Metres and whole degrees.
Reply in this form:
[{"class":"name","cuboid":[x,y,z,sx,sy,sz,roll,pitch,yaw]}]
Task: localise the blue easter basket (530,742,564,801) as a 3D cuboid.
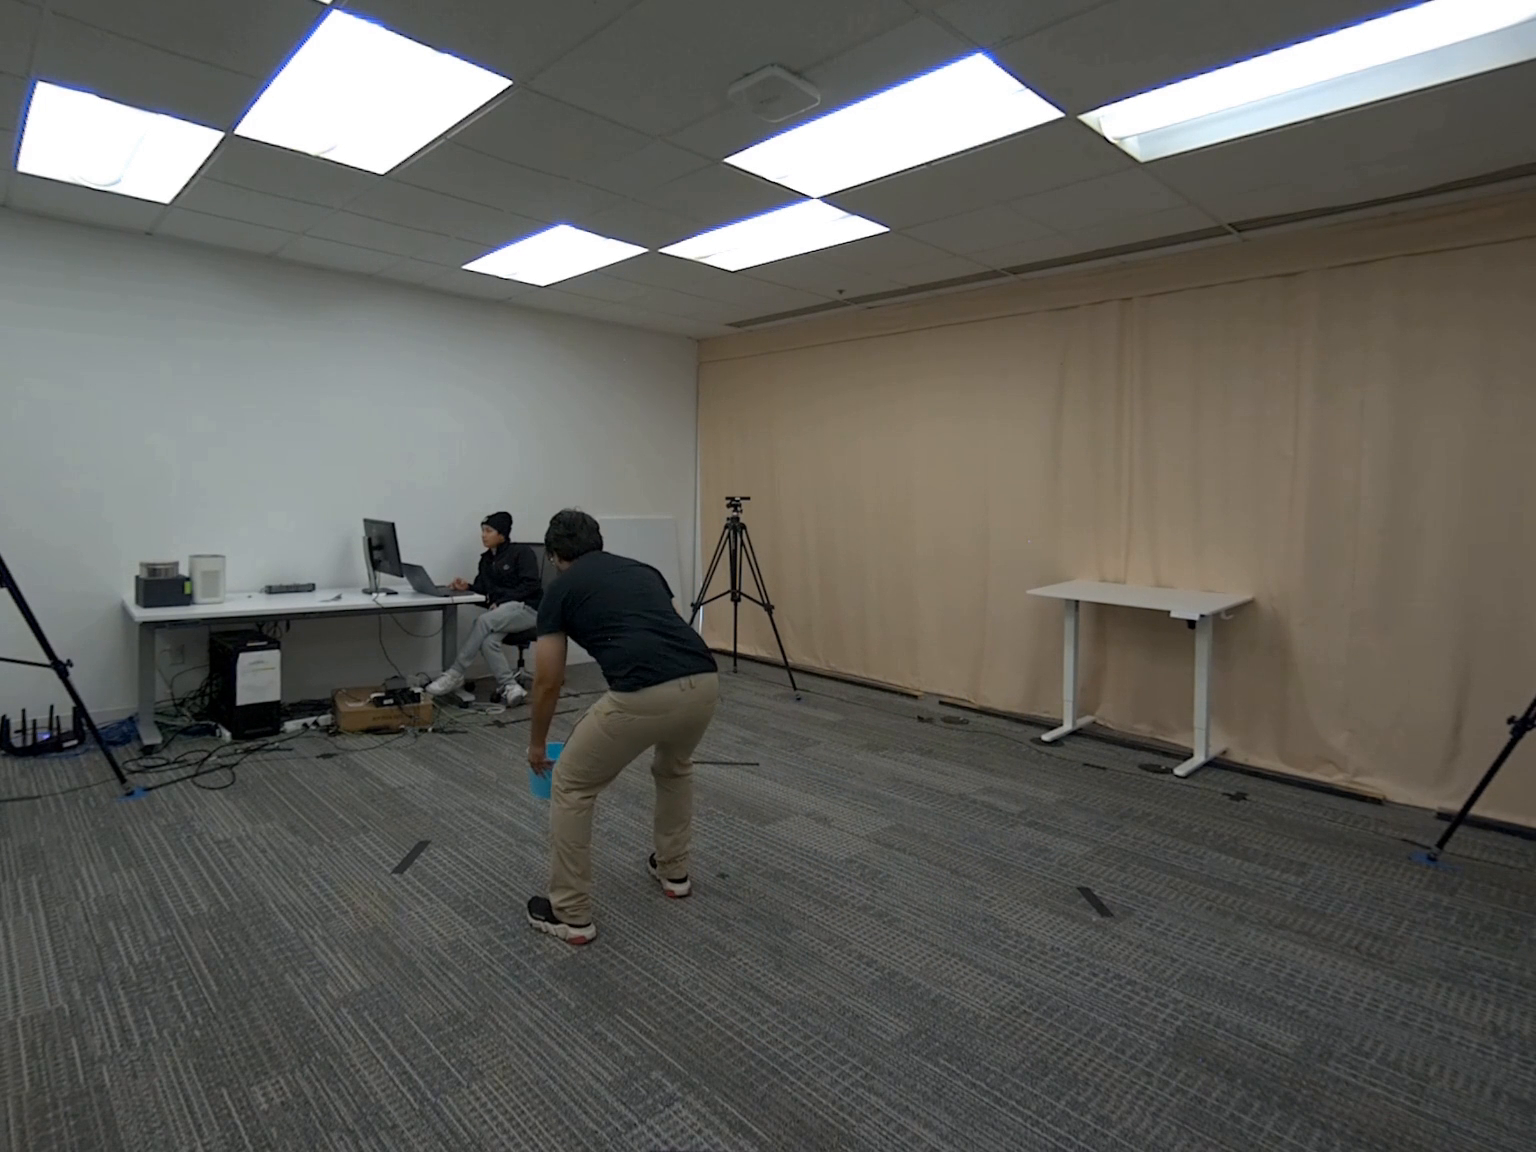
[{"class":"blue easter basket","cuboid":[-0.783,0.724,3.098,0.243,0.156,0.244,4,2,-1]}]
